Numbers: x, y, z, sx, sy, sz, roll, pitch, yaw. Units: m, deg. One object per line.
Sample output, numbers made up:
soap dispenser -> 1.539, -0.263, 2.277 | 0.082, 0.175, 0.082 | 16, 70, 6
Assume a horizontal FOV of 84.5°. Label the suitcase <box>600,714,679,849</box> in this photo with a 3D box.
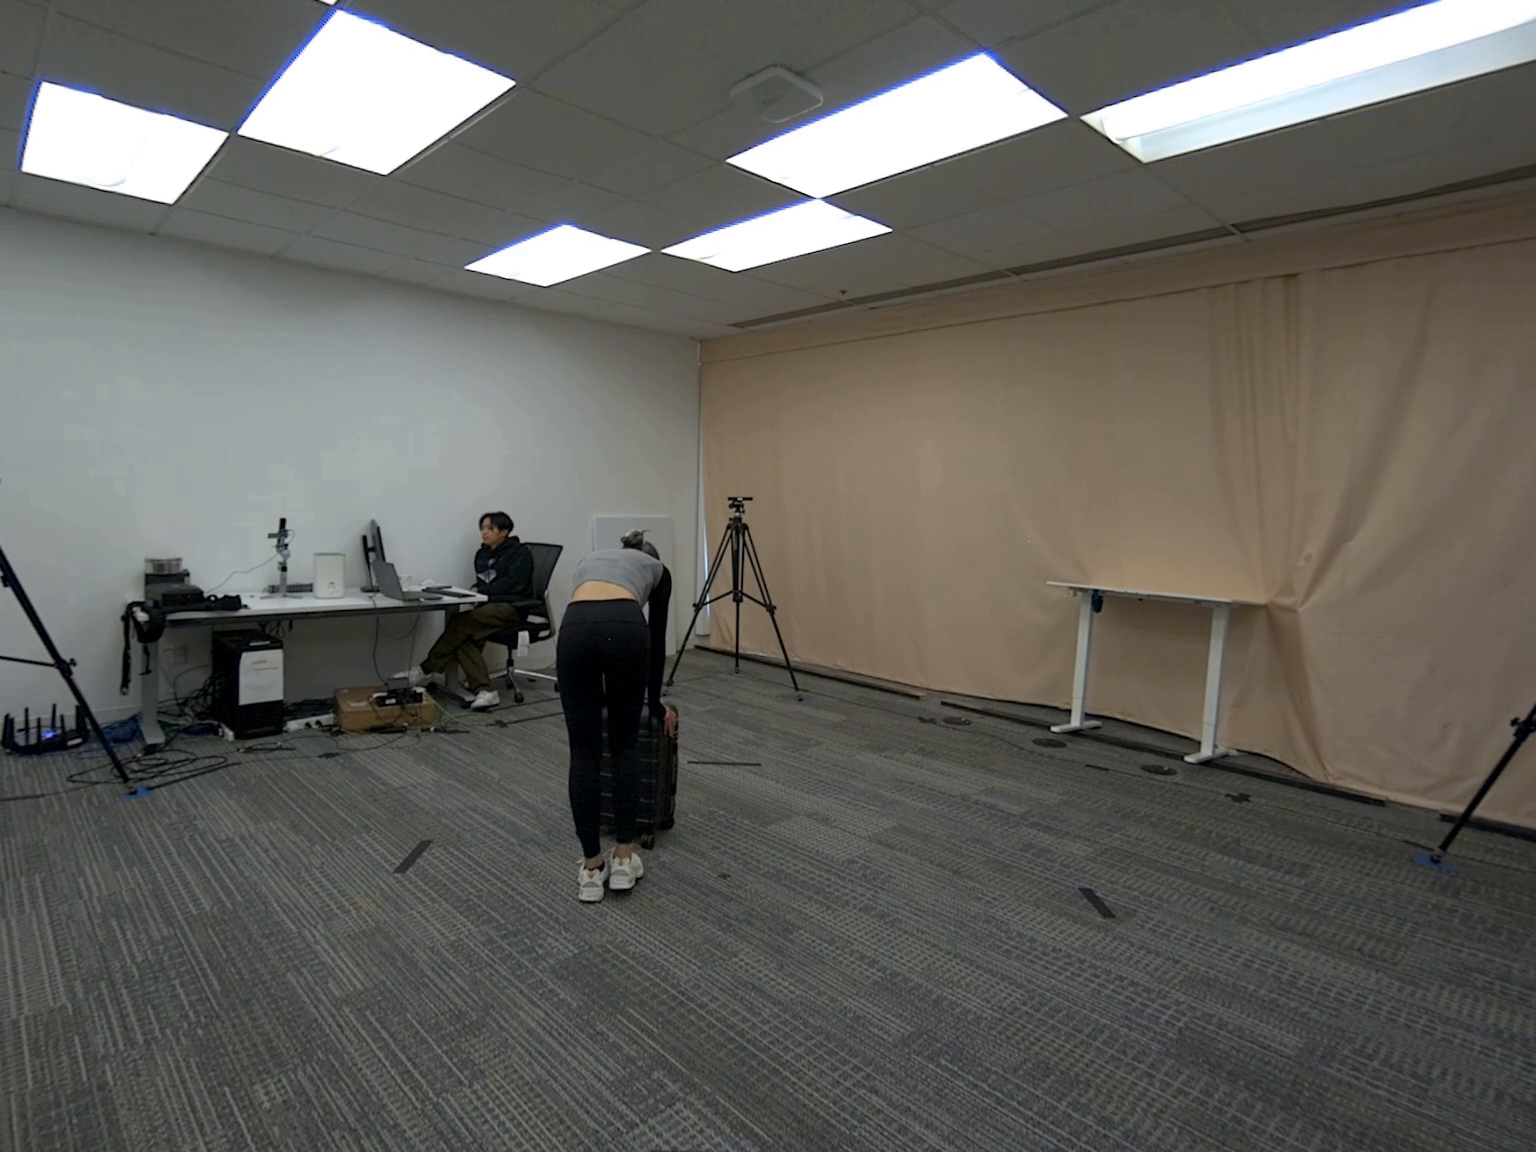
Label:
suitcase -> -0.575, 0.794, 3.497 | 0.381, 0.549, 0.245 | 3, 0, 17
